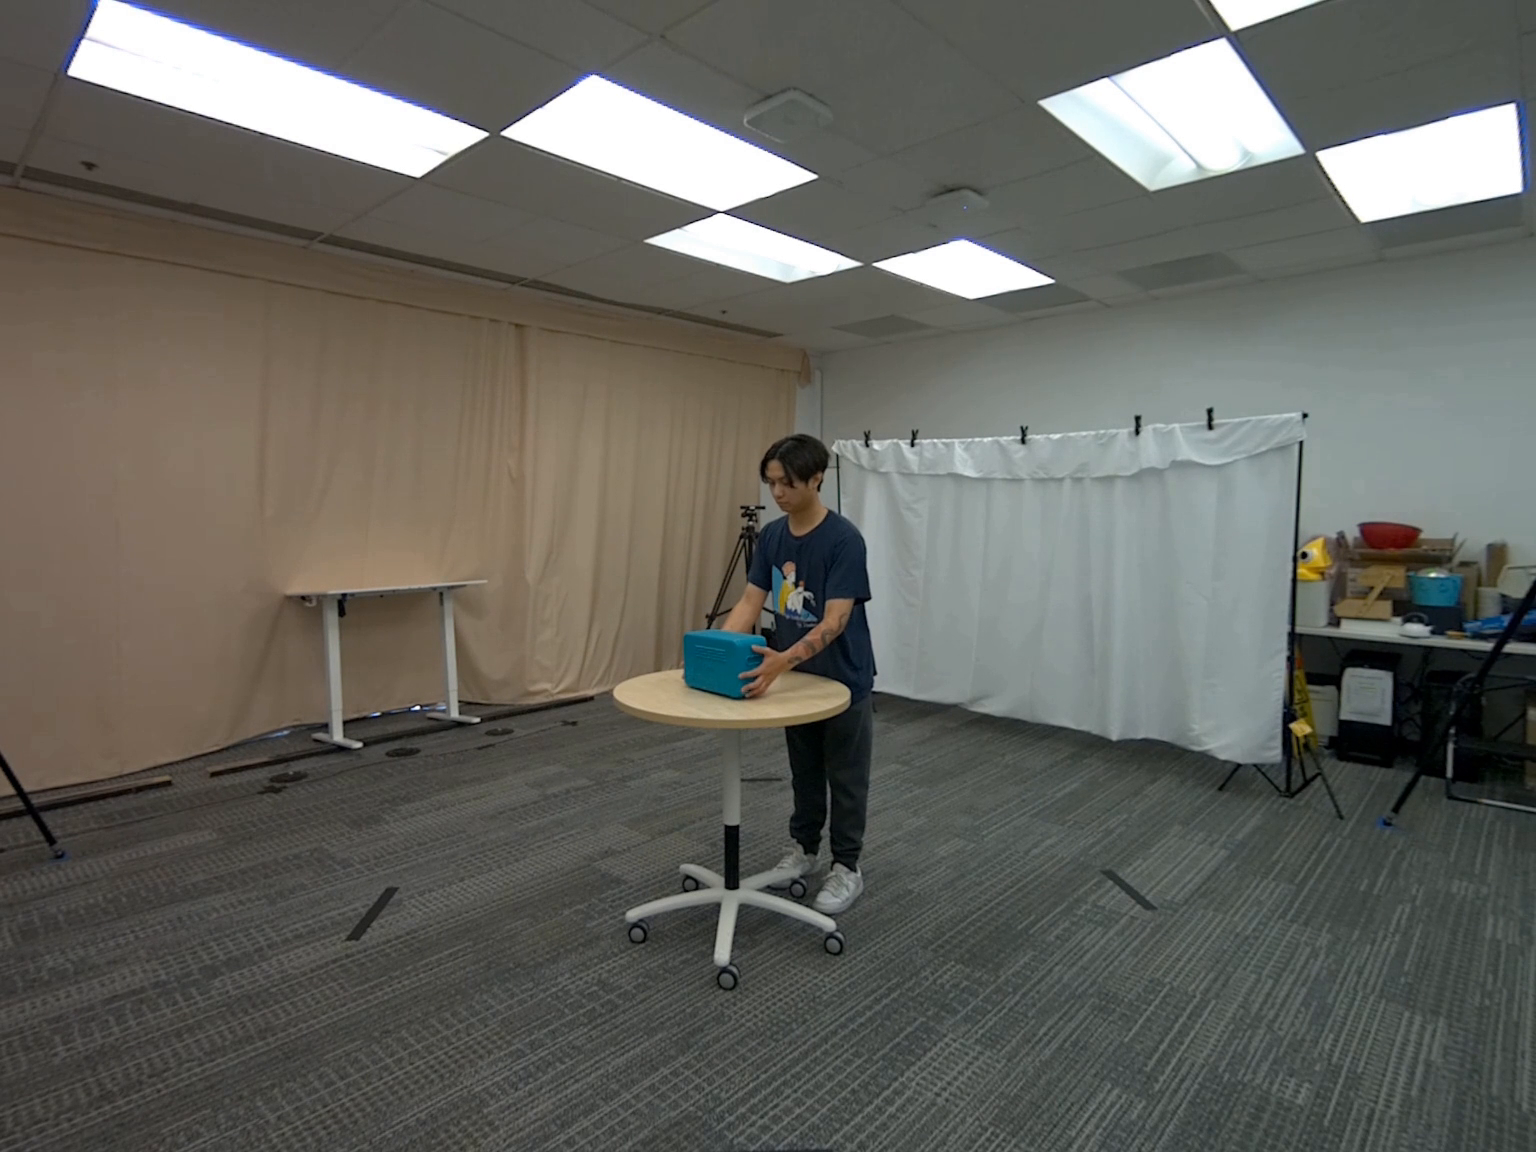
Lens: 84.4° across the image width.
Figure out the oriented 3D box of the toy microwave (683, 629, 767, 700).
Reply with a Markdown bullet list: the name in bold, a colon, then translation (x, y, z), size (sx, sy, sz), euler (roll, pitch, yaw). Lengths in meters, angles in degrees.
- **toy microwave**: translation (-0.129, 0.282, 2.700), size (0.148, 0.184, 0.295), euler (-4, 5, -41)
